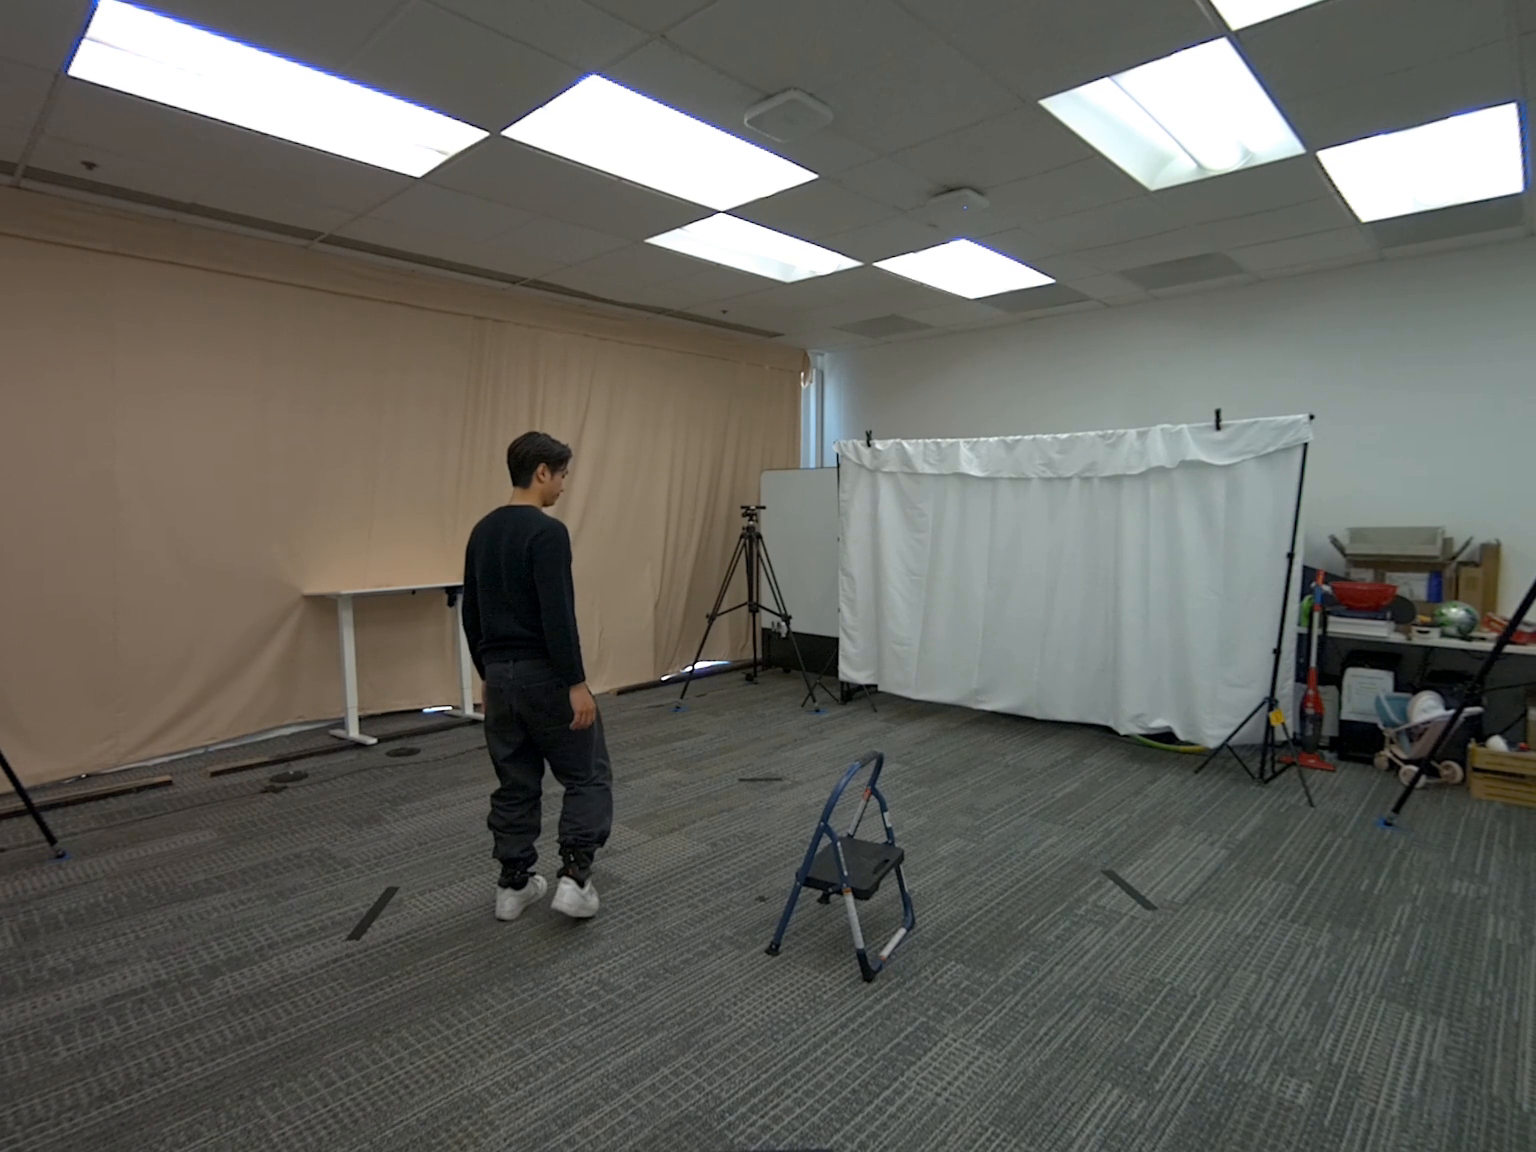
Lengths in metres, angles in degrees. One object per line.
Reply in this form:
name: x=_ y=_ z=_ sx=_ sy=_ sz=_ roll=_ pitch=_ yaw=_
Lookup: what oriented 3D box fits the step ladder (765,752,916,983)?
step ladder: x=0.248 y=0.866 z=2.691 sx=0.359 sy=0.605 sz=0.419 roll=1 pitch=4 yaw=30
